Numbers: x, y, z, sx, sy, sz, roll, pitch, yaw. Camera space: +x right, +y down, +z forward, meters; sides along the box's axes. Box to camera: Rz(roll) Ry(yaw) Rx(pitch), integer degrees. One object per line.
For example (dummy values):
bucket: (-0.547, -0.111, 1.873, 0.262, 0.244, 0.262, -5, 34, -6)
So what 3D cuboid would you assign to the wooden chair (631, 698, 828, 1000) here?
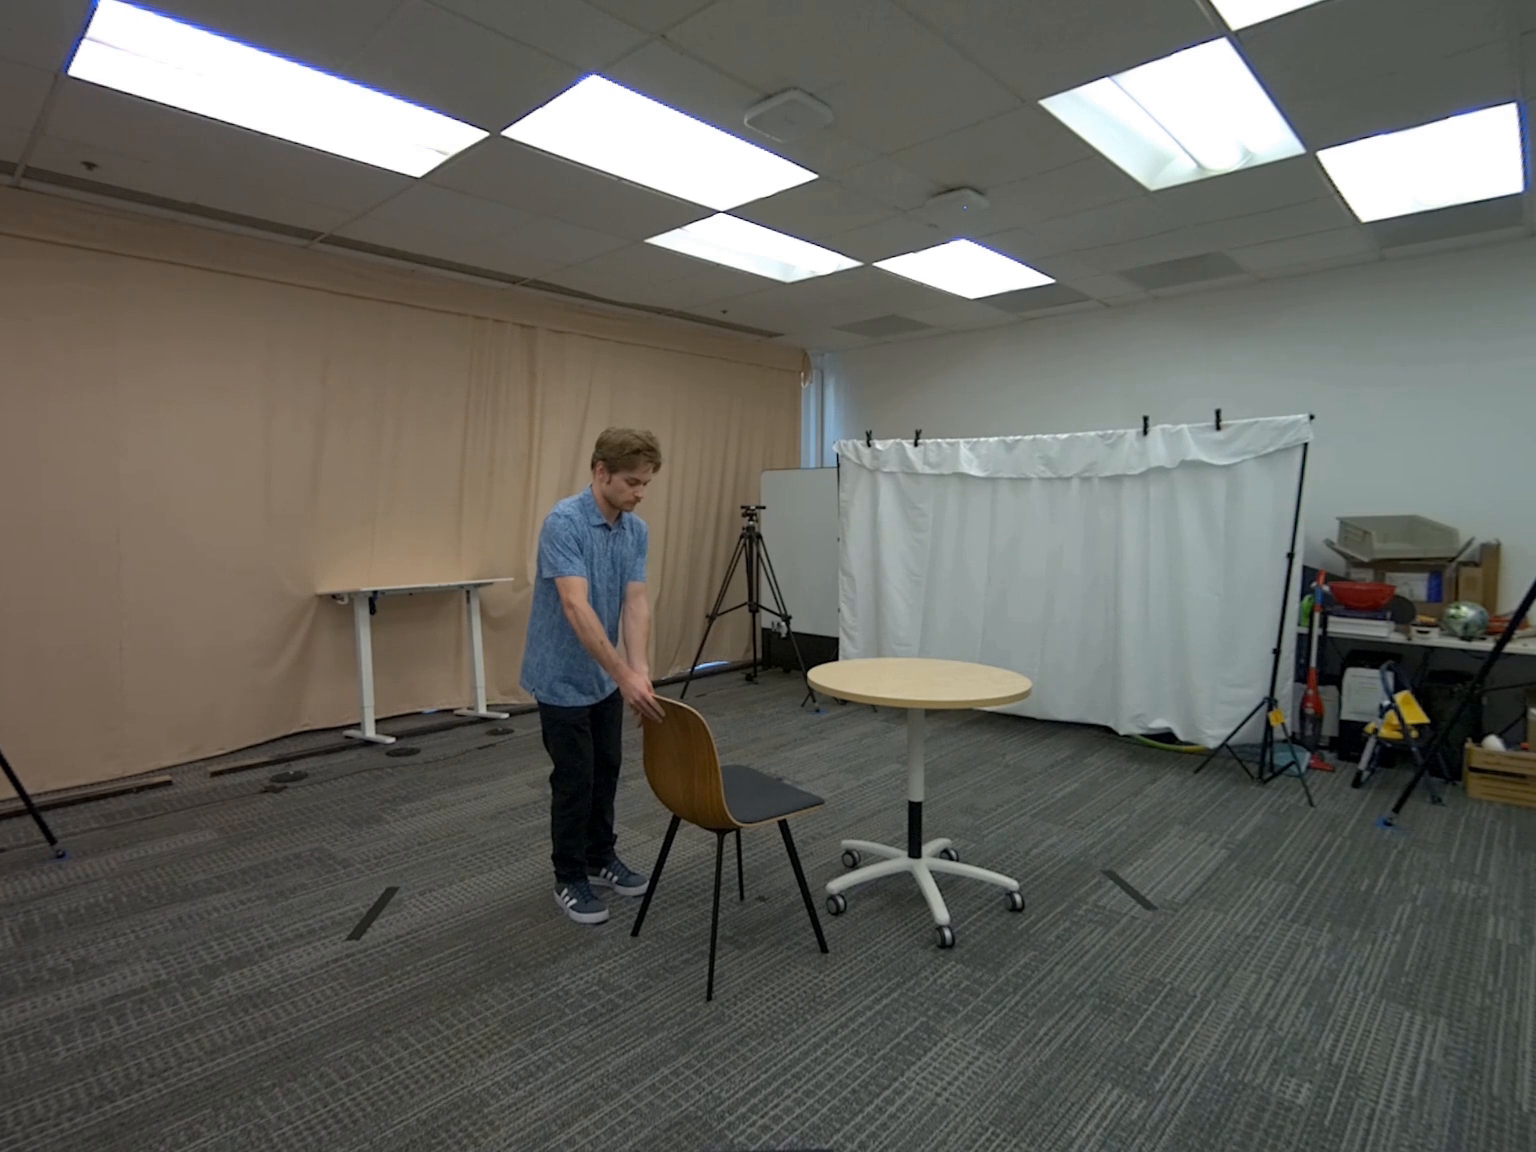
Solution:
wooden chair: (-0.121, 0.746, 2.649, 0.509, 0.874, 0.493, -8, 7, -37)
